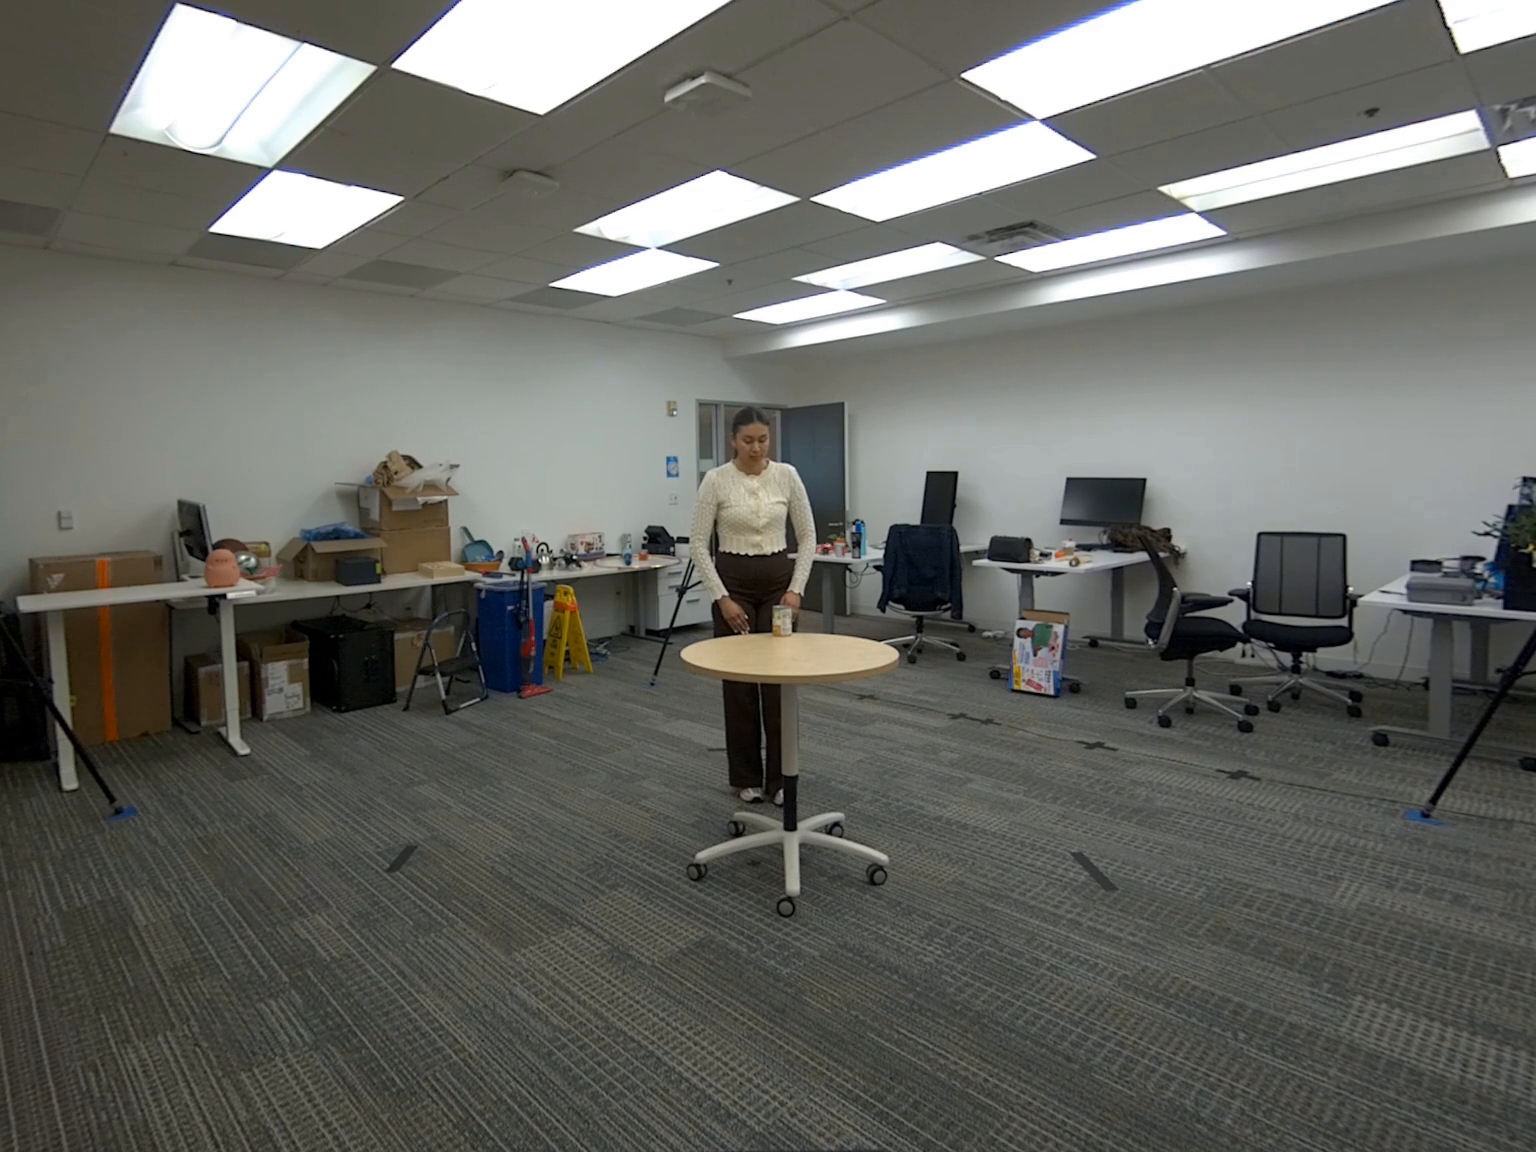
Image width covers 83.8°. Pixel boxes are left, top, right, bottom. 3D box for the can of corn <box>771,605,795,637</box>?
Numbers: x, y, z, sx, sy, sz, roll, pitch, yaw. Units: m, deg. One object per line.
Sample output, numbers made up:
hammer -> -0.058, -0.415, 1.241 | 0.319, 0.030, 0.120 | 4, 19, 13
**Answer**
can of corn -> 0.048, 0.181, 3.355 | 0.074, 0.111, 0.074 | 0, 3, -2
